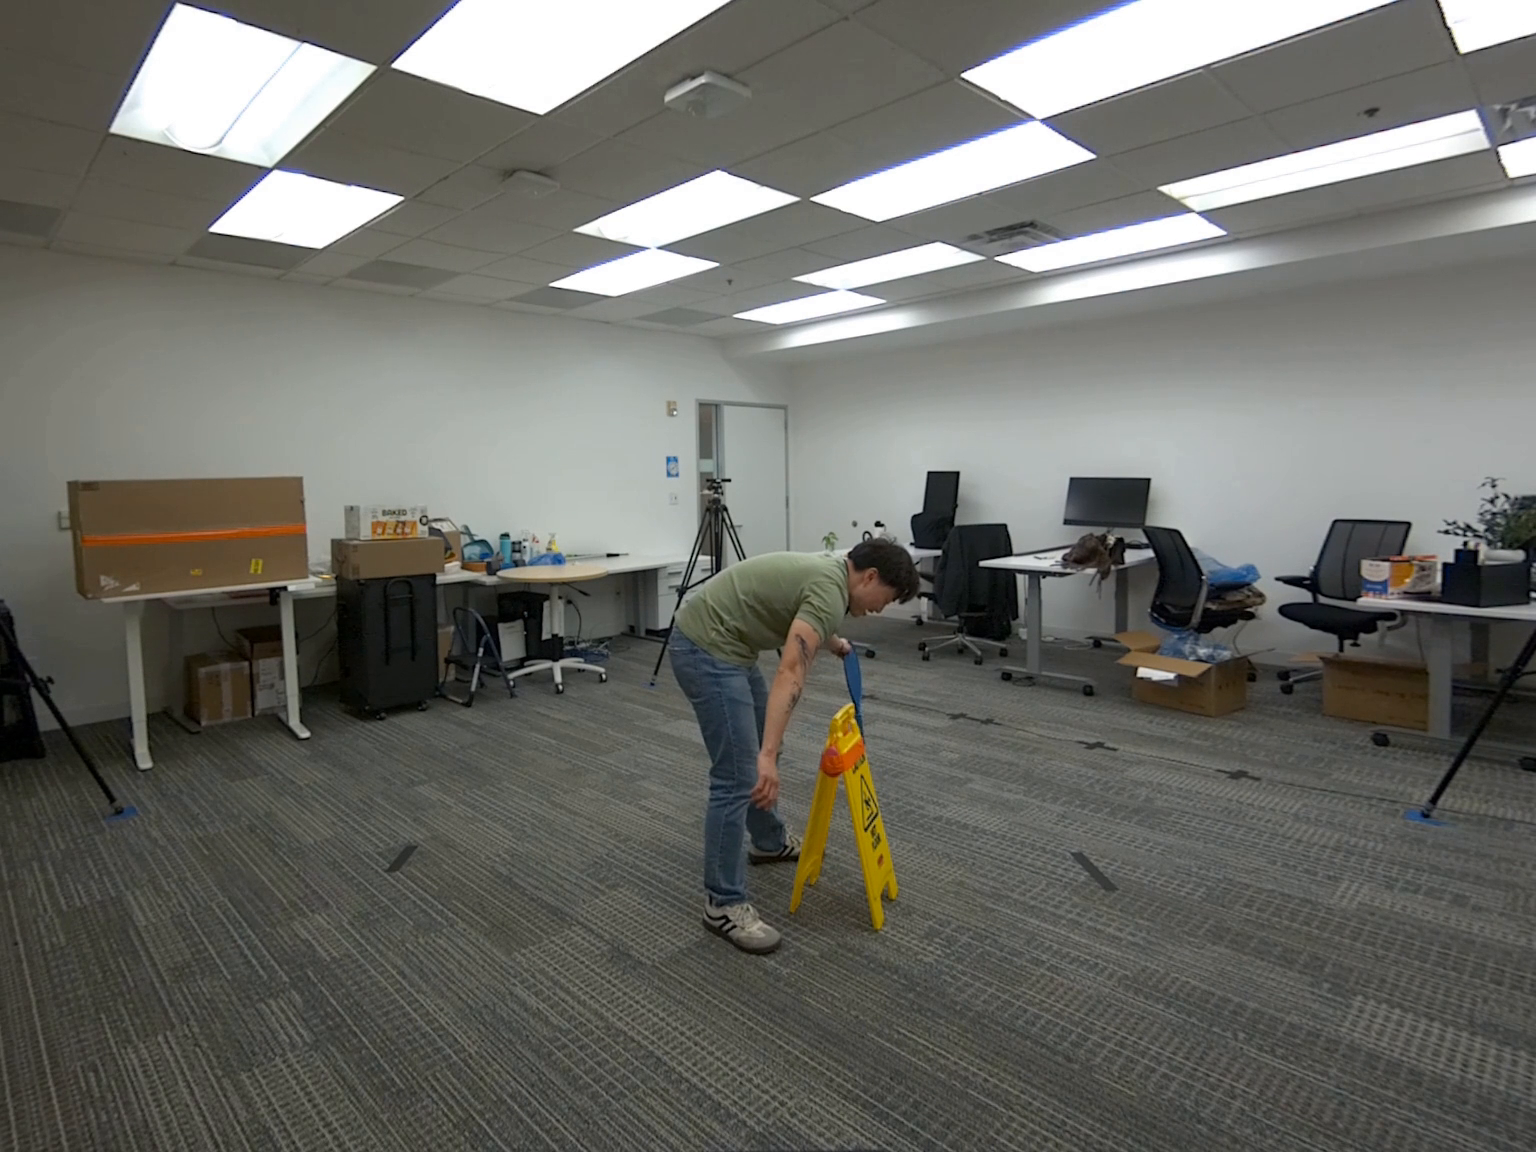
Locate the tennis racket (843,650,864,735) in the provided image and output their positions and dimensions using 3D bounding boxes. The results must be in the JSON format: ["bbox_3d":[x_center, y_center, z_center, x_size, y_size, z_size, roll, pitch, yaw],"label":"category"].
[{"bbox_3d":[0.363,0.504,3.504,0.032,0.440,0.207,-12,-17,20],"label":"tennis racket"}]
